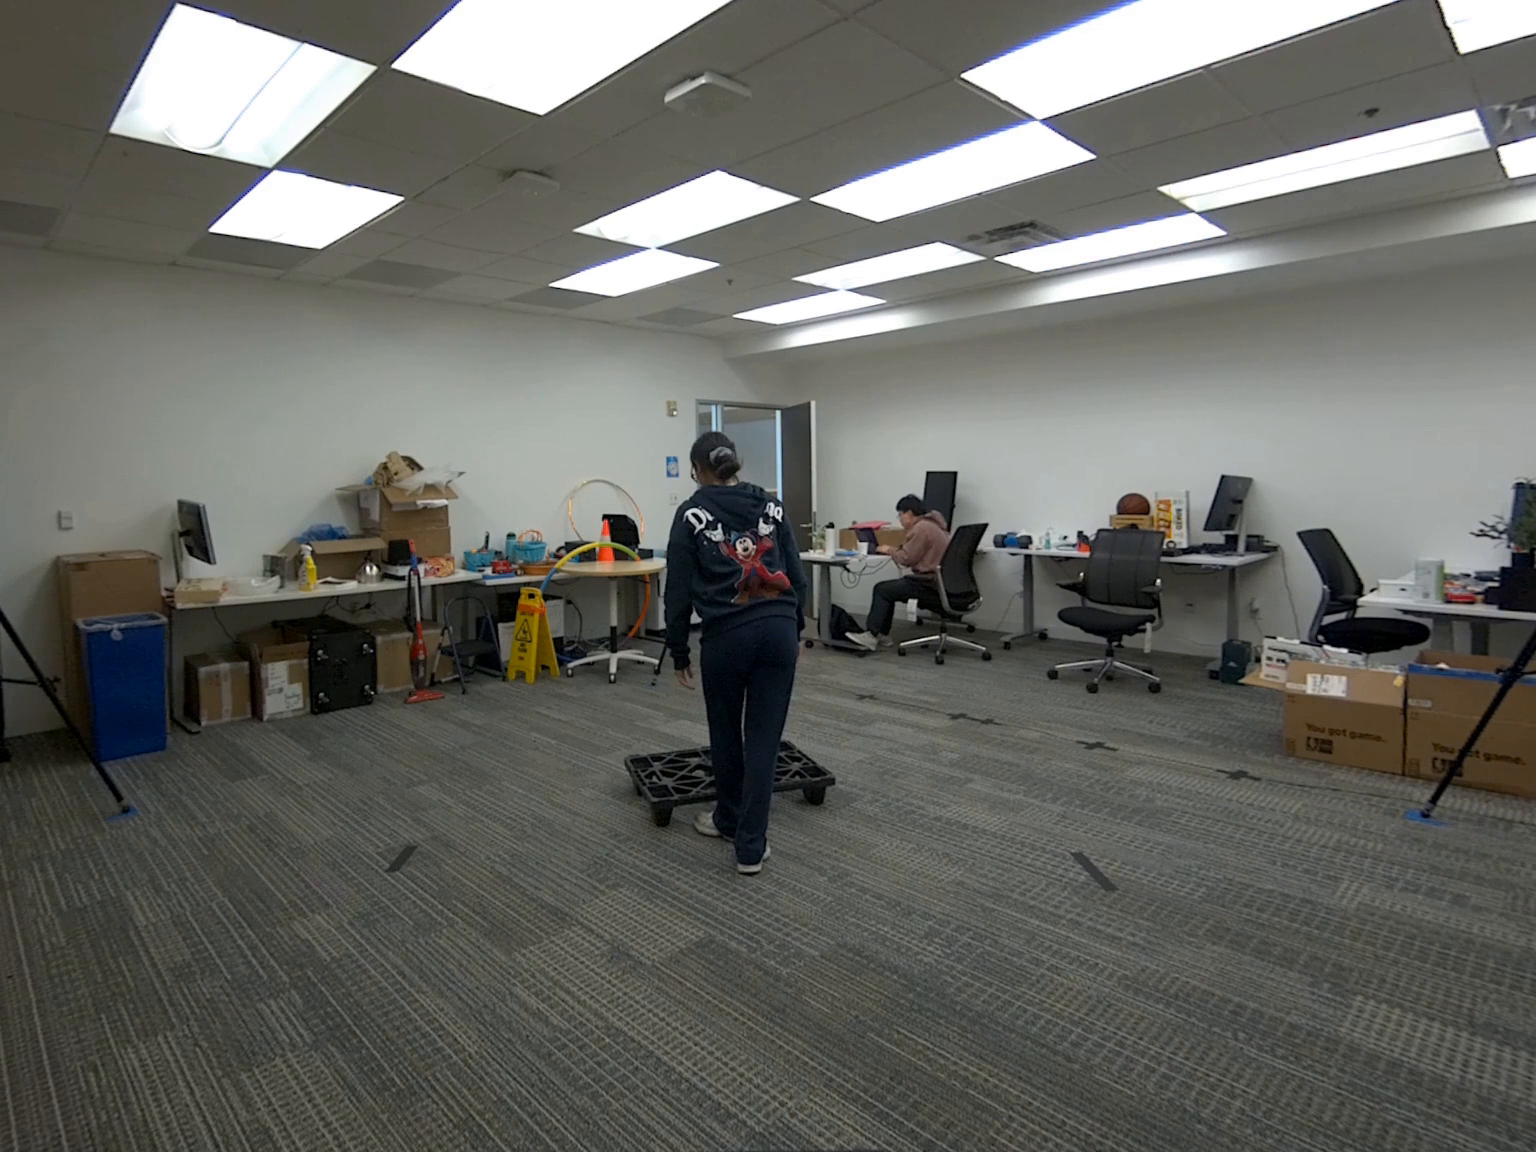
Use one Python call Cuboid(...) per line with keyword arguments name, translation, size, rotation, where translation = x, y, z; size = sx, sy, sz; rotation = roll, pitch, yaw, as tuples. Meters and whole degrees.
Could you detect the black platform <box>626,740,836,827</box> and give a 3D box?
Cuboid(name="black platform", translation=(-0.179, 0.905, 3.771), size=(0.793, 0.142, 0.618), rotation=(-4, 7, -18))
